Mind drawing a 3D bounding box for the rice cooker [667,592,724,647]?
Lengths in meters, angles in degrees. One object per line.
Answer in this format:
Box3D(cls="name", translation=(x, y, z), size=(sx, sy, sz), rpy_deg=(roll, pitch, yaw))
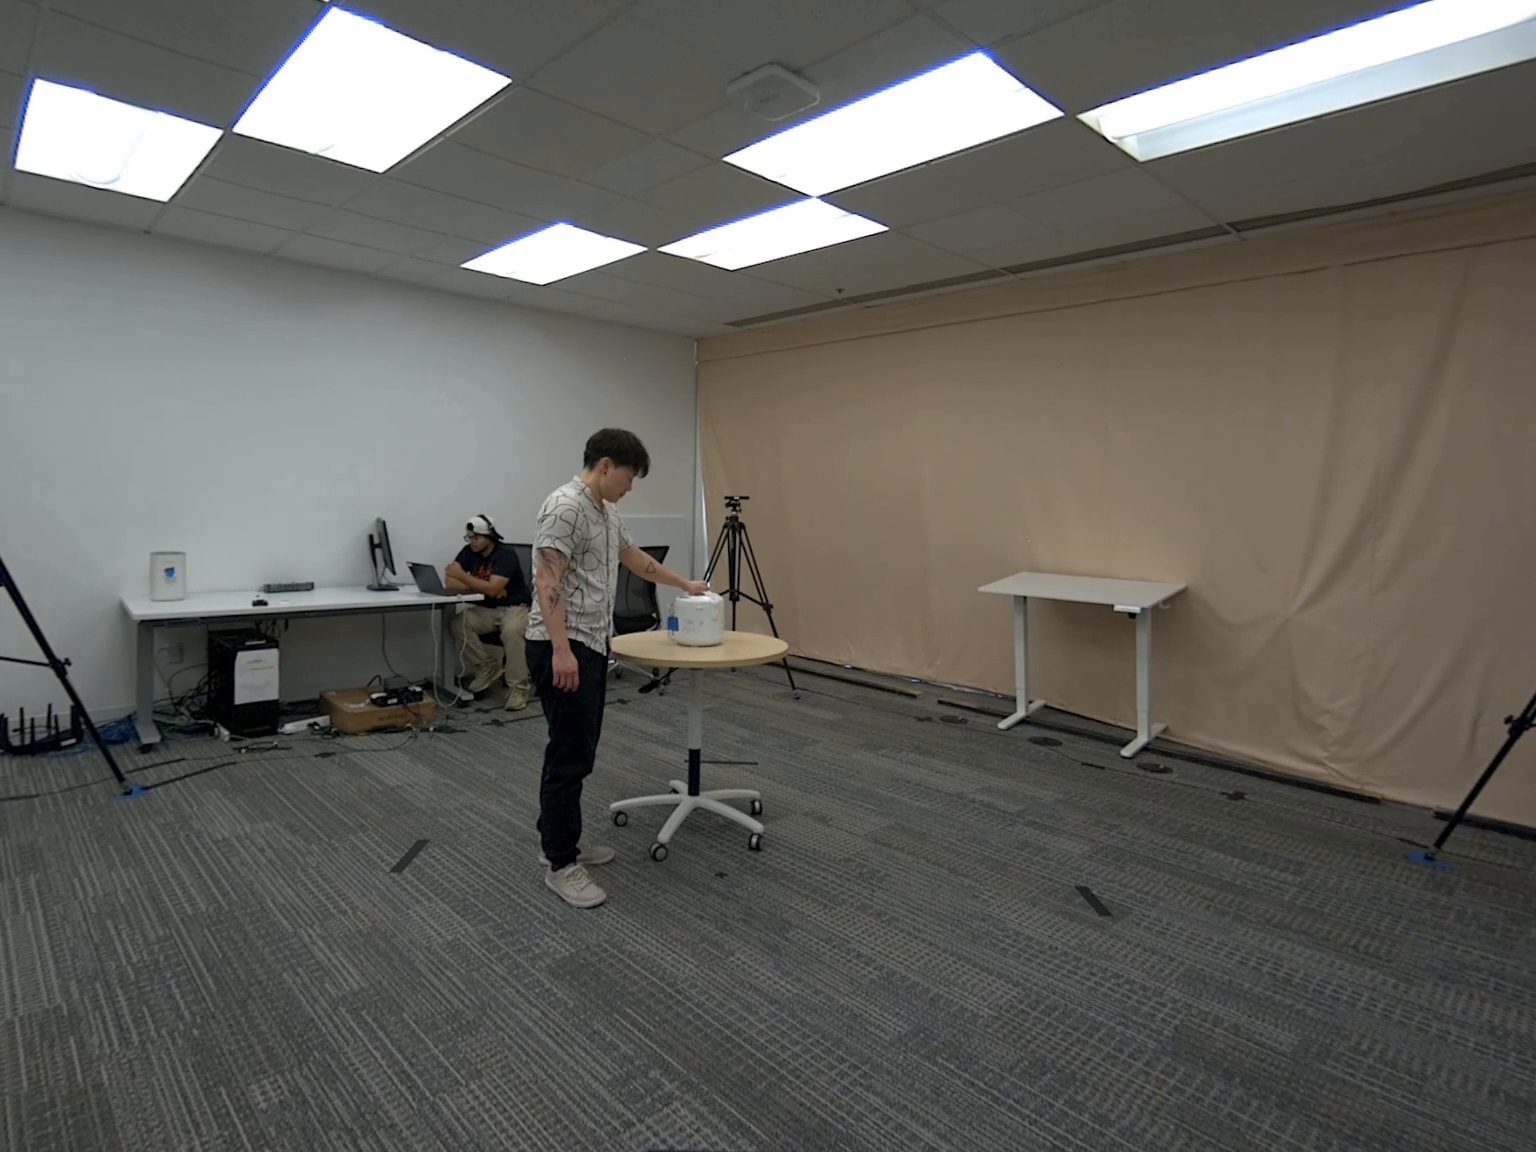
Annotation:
Box3D(cls="rice cooker", translation=(-0.293, 0.168, 3.514), size=(0.212, 0.232, 0.226), rpy_deg=(-4, 6, -42))
